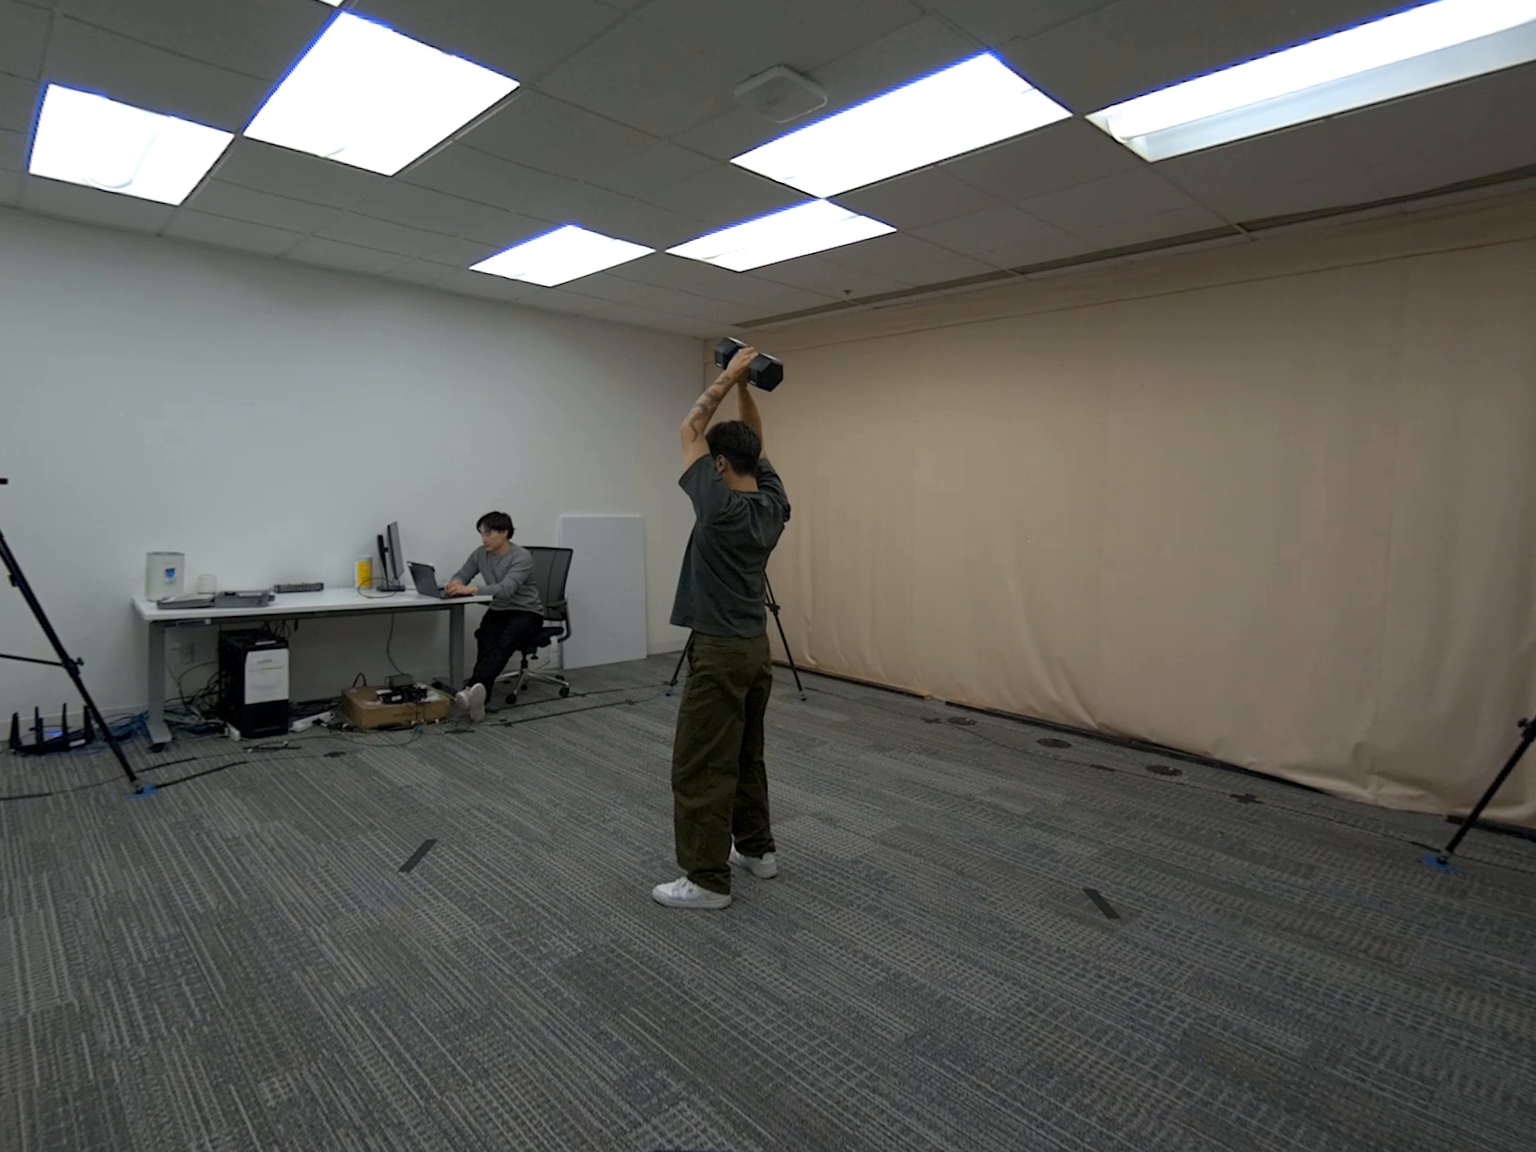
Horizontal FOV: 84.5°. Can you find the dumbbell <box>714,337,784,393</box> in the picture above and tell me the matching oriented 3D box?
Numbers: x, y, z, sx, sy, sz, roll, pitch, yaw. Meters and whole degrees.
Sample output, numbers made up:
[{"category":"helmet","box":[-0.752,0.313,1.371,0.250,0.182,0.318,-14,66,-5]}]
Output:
[{"category":"dumbbell","box":[-0.081,-0.733,2.894,0.107,0.120,0.303,-24,39,-25]}]
